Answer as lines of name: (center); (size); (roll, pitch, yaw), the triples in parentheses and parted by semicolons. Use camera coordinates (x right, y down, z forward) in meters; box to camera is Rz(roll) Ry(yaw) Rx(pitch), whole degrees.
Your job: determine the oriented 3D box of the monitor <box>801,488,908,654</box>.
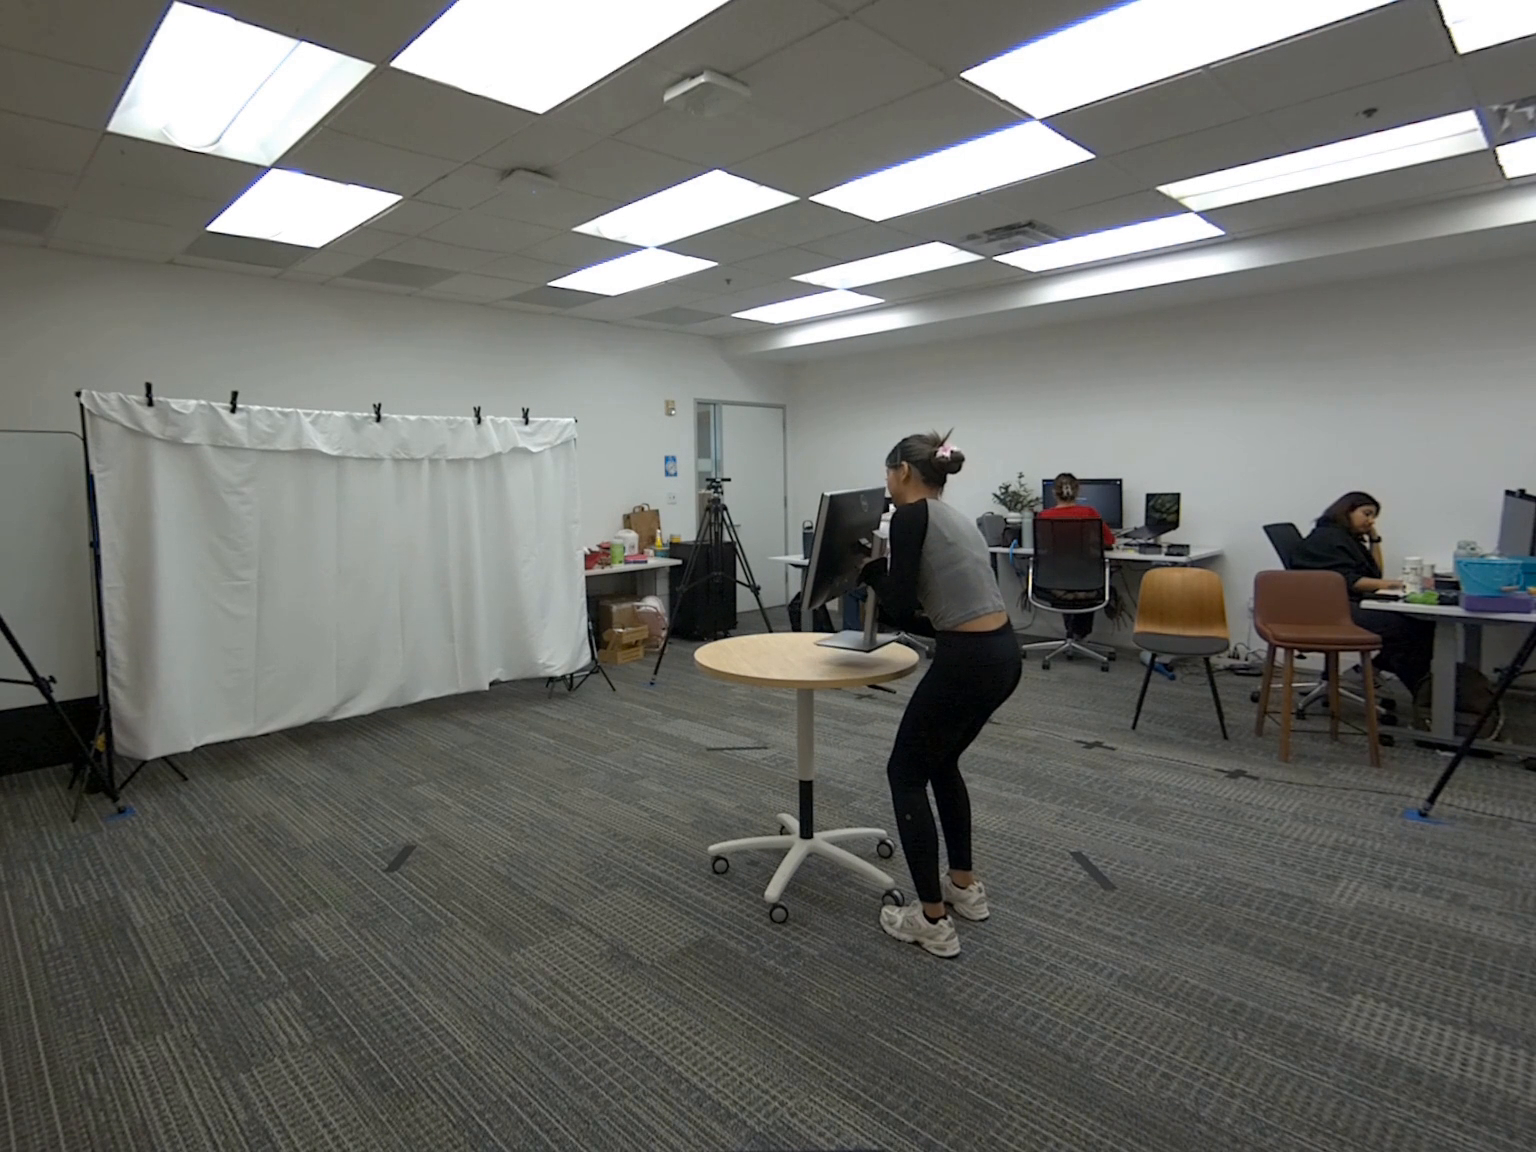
monitor: (0.298, -0.022, 2.780); (0.191, 0.520, 0.529); (-1, 6, 25)
